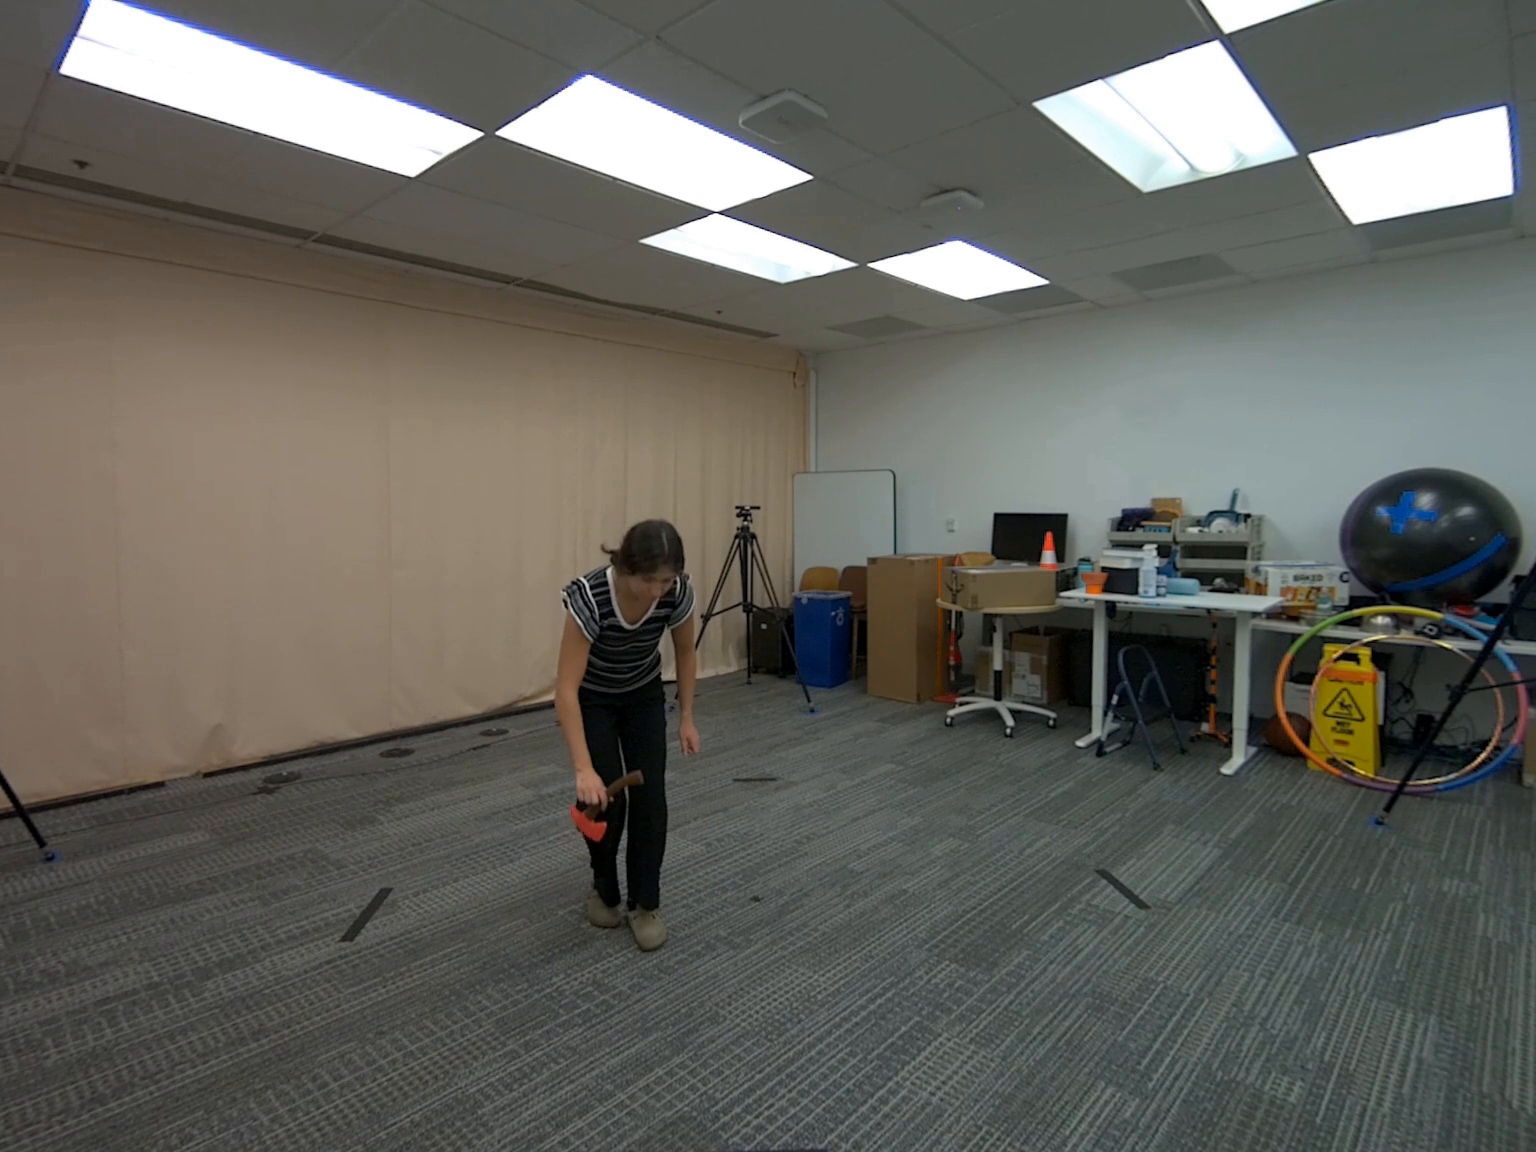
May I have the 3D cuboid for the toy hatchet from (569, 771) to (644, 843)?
[{"bbox_3d":[-0.440,0.687,2.437,0.273,0.133,0.029,-19,-18,12],"label":"toy hatchet"}]
